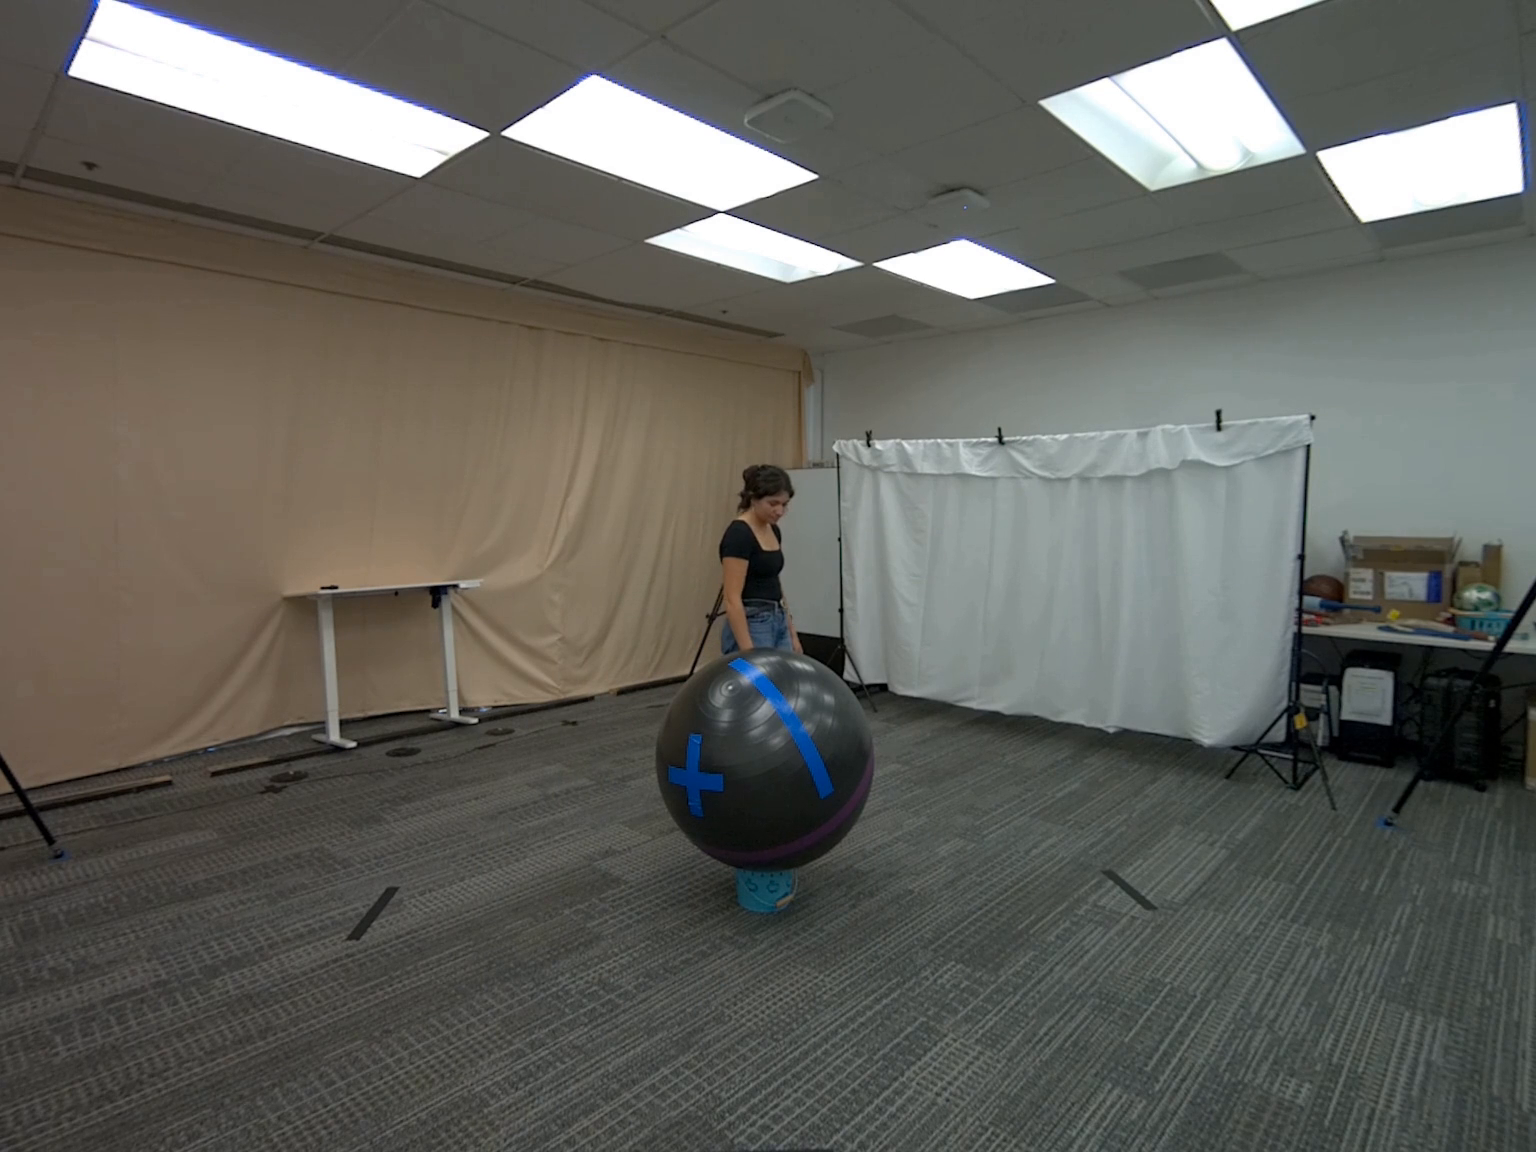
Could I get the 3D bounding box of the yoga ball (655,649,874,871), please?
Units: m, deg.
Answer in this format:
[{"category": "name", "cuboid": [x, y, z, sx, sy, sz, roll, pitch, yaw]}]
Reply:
[{"category": "yoga ball", "cuboid": [-0.010, 0.635, 2.946, 0.757, 0.756, 0.760, 0, 4, -2]}]
